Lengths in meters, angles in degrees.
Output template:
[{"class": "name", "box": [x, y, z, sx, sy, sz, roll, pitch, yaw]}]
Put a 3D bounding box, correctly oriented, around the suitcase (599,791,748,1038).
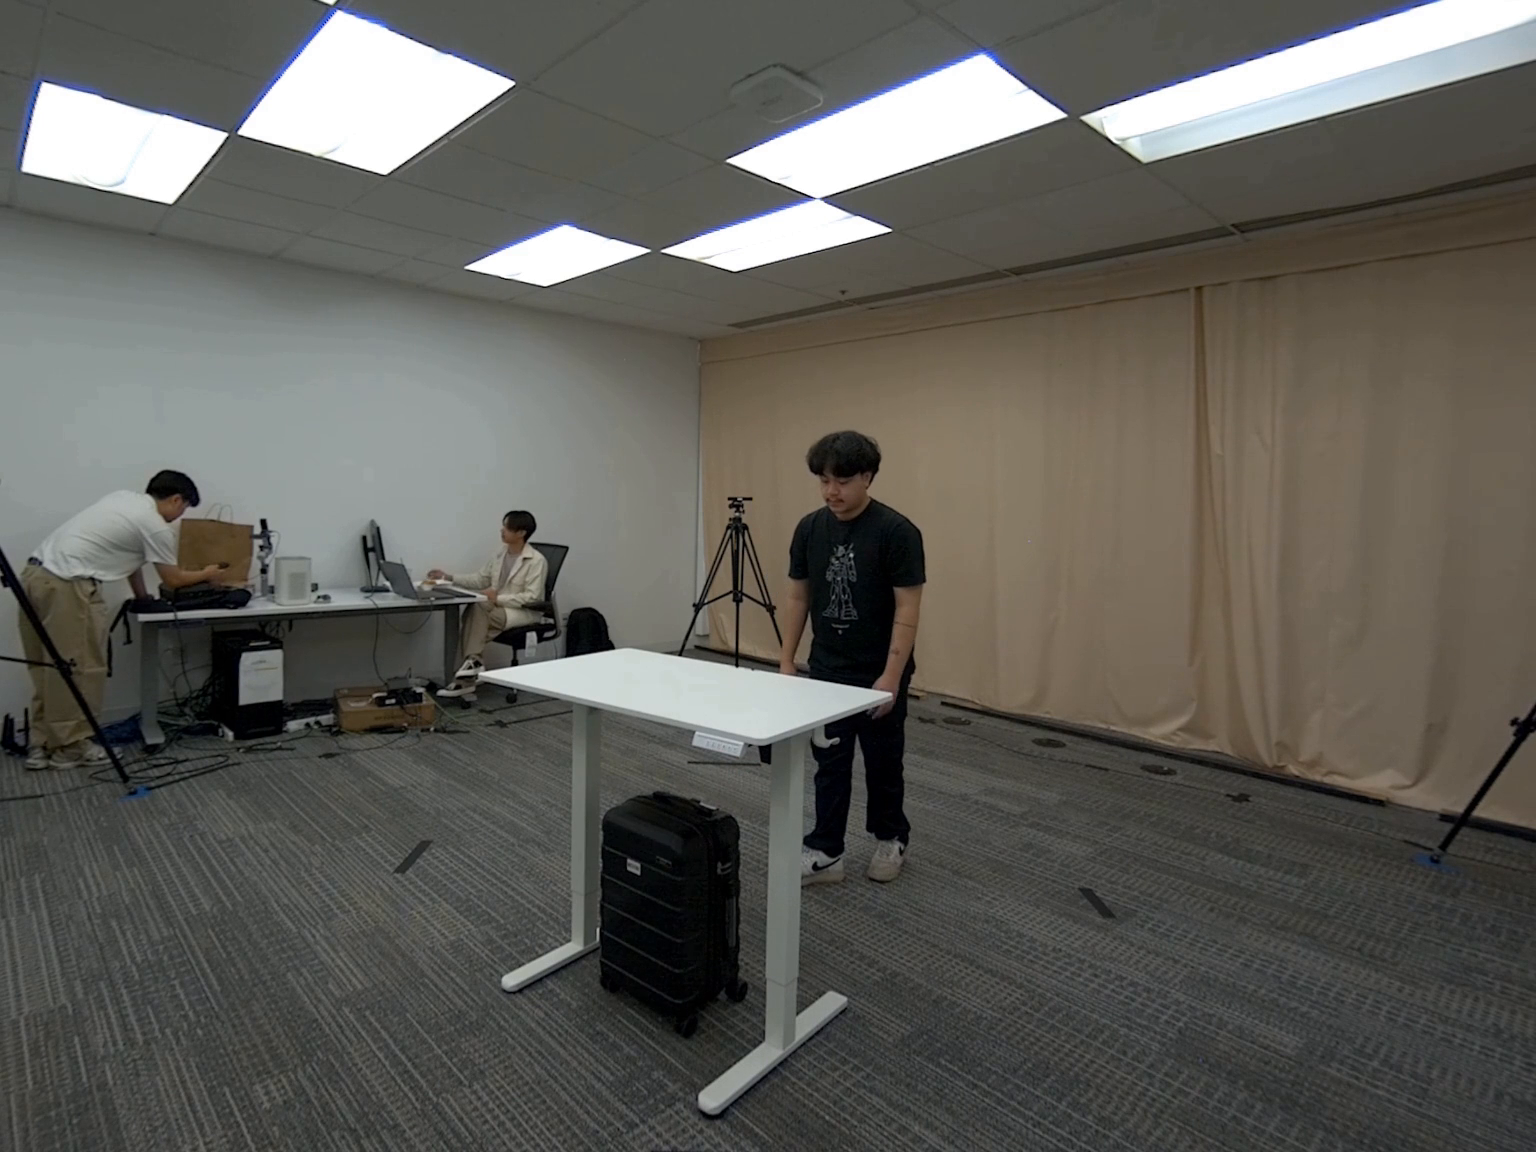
[{"class": "suitcase", "box": [-0.280, 0.911, 2.321, 0.384, 0.547, 0.243, 2, 6, 38]}]
